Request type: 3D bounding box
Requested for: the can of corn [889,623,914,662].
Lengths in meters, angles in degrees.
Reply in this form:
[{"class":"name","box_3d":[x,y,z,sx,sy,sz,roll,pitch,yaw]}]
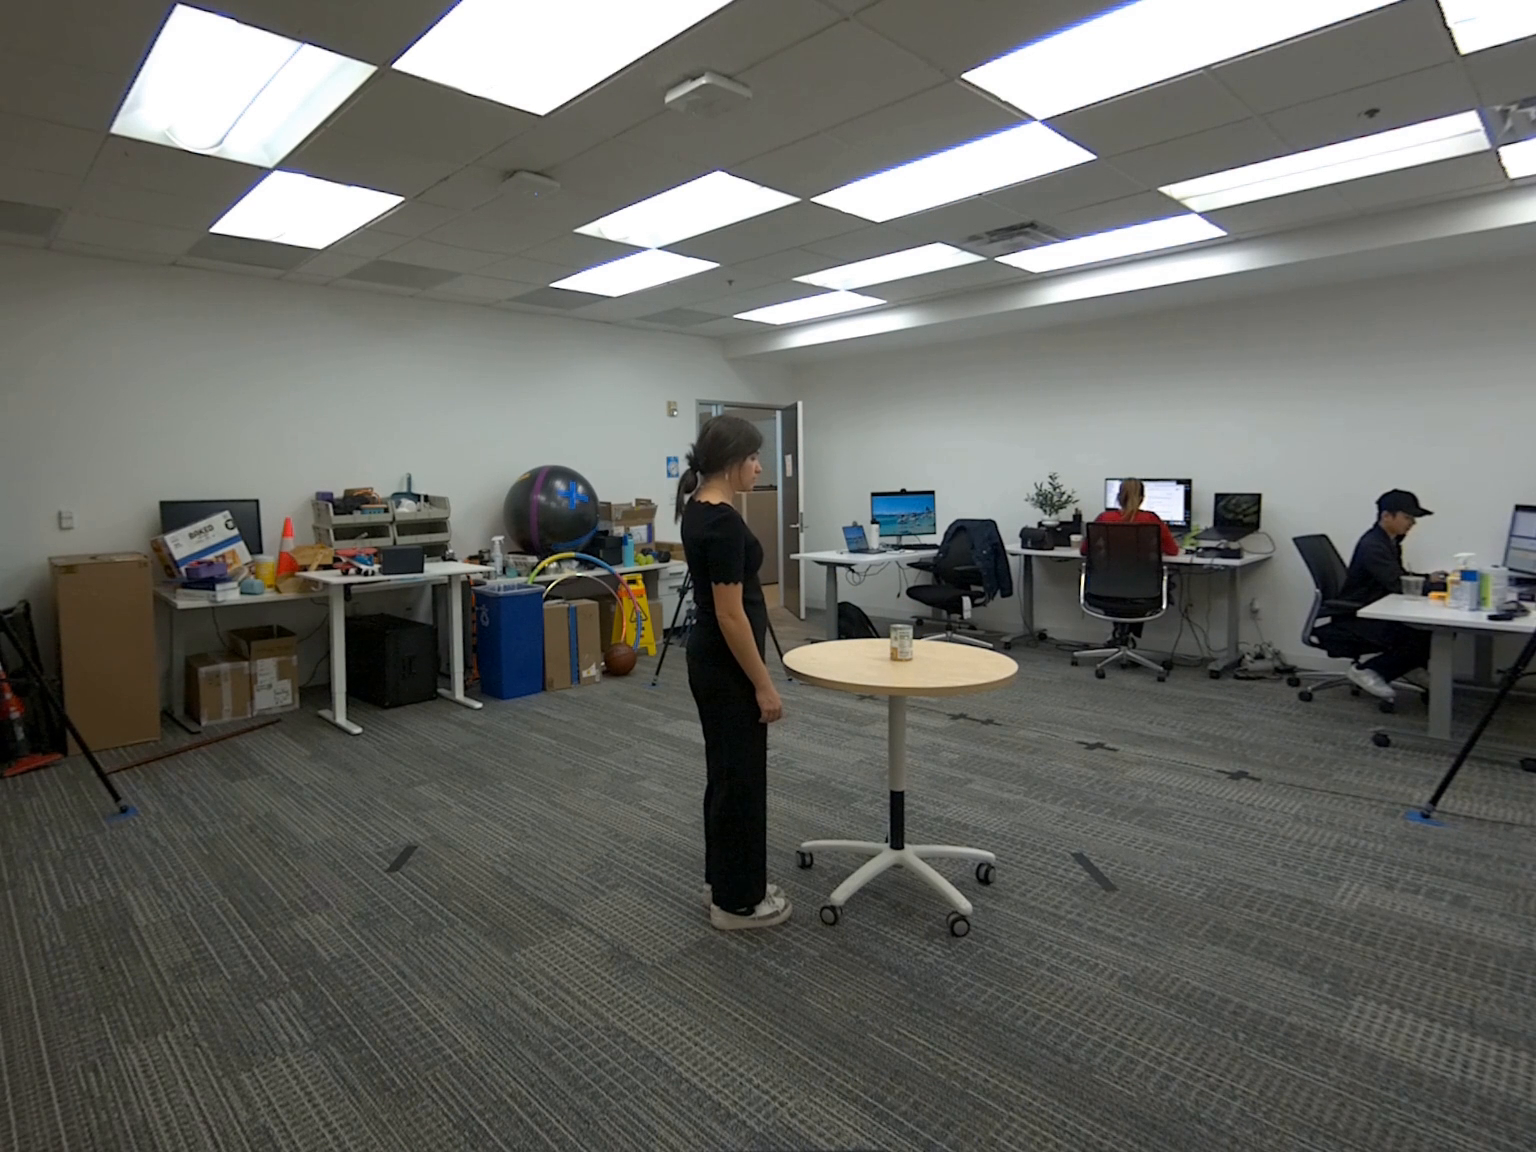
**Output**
[{"class":"can of corn","box_3d":[0.452,0.226,2.863,0.074,0.110,0.075,0,6,-2]}]
